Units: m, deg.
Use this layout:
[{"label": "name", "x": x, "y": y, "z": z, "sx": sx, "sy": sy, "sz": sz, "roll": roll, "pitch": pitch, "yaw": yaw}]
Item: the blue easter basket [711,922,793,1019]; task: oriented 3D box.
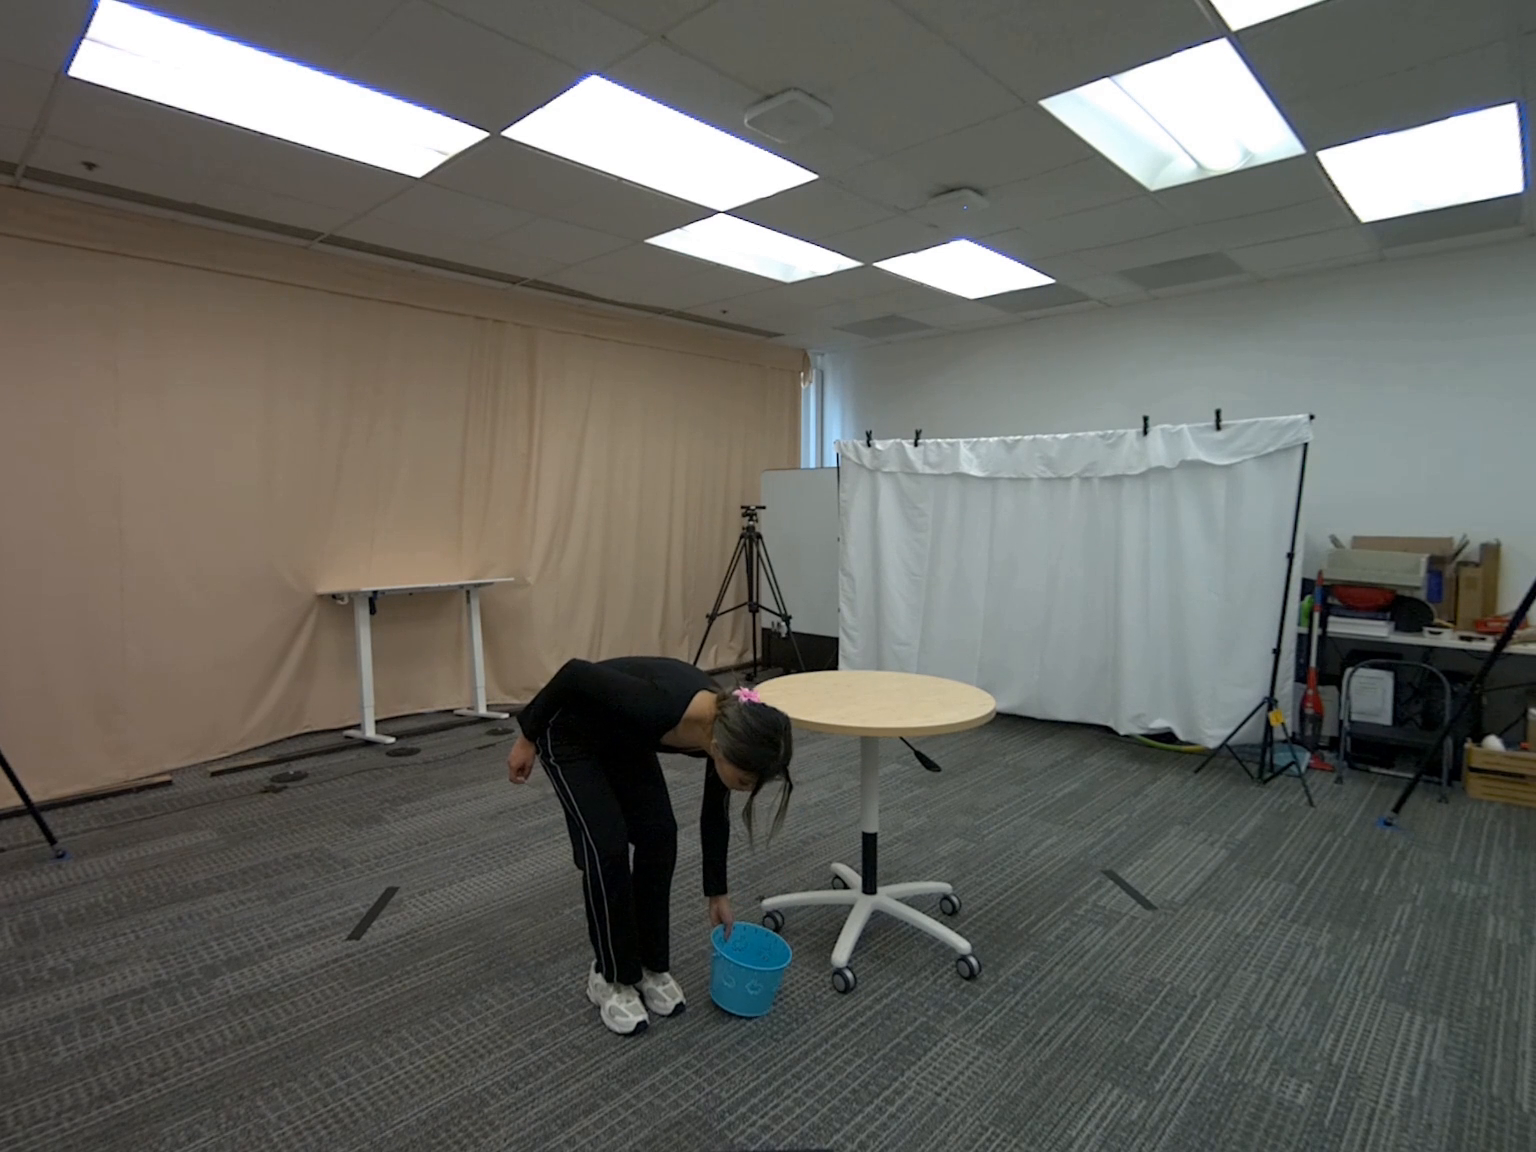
[{"label": "blue easter basket", "x": -0.059, "y": 1.104, "z": 2.352, "sx": 0.243, "sy": 0.155, "sz": 0.245, "roll": 9, "pitch": 5, "yaw": -3}]
